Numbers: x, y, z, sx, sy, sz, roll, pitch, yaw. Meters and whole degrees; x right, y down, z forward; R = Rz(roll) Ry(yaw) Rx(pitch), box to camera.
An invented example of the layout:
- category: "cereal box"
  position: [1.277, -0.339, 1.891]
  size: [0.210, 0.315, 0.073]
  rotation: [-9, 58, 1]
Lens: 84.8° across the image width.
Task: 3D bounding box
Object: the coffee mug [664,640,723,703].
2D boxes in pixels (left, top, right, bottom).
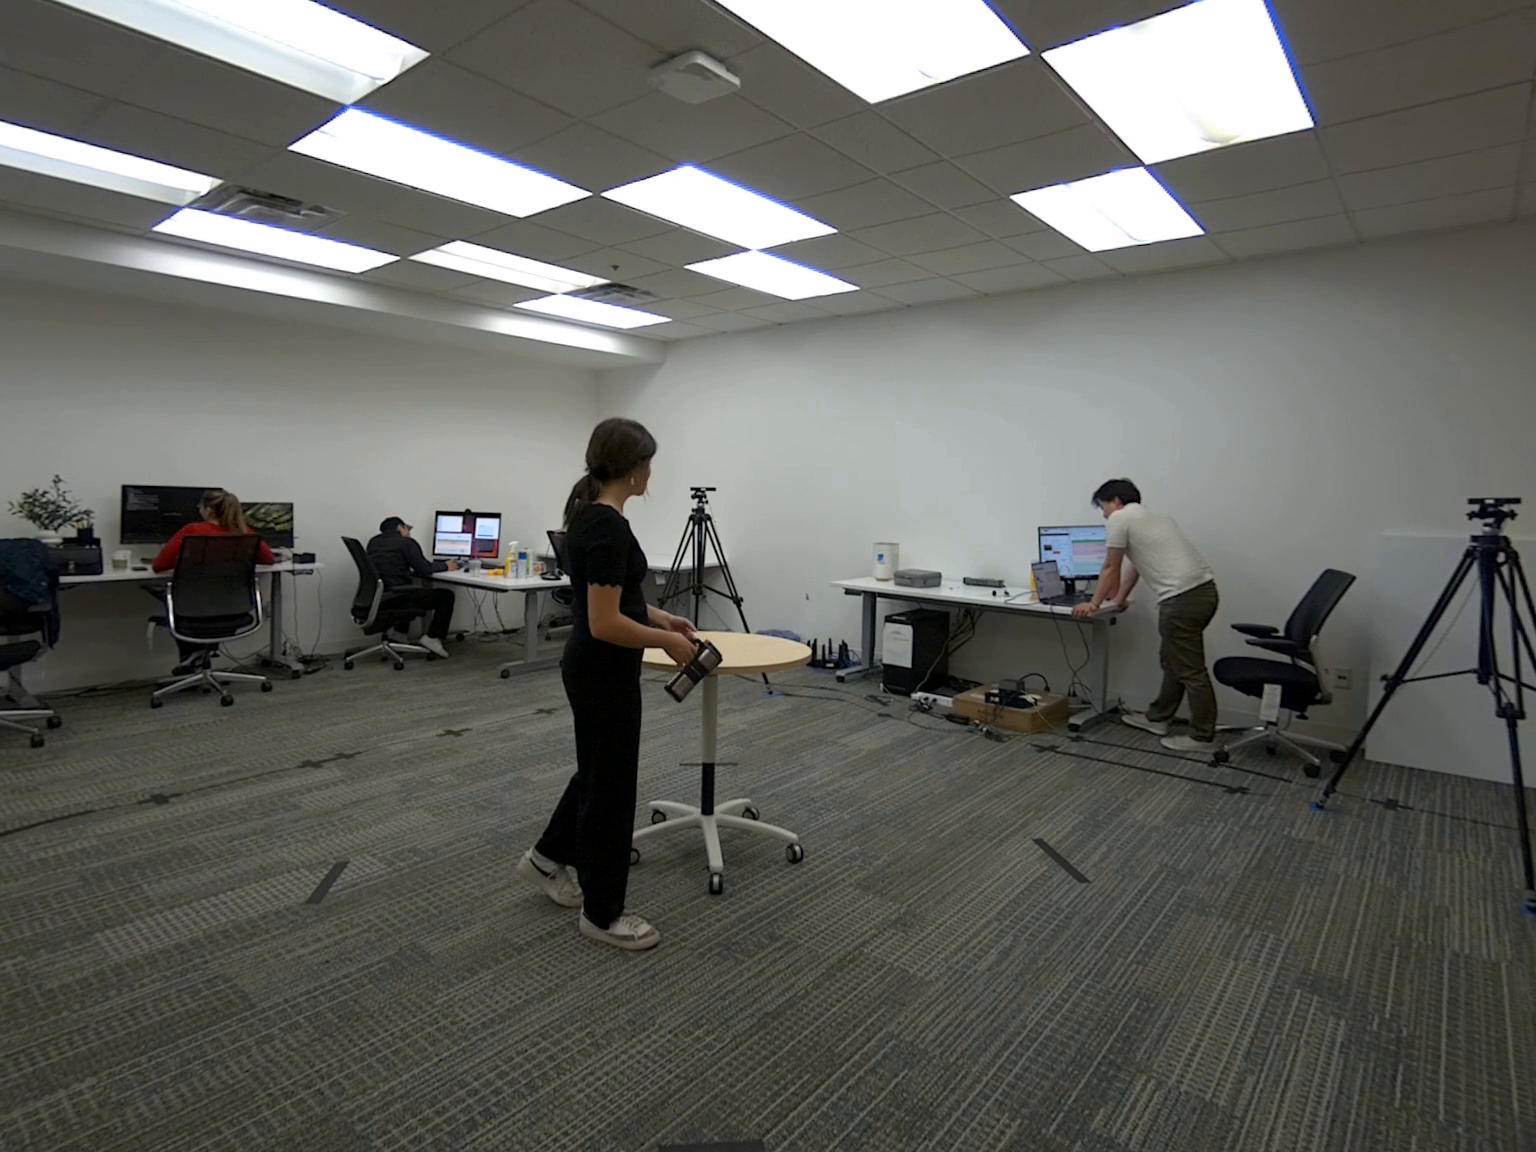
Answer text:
- category: "coffee mug"
  position: [-0.266, 0.302, 2.680]
  size: [0.126, 0.203, 0.085]
  rotation: [40, -10, 29]
